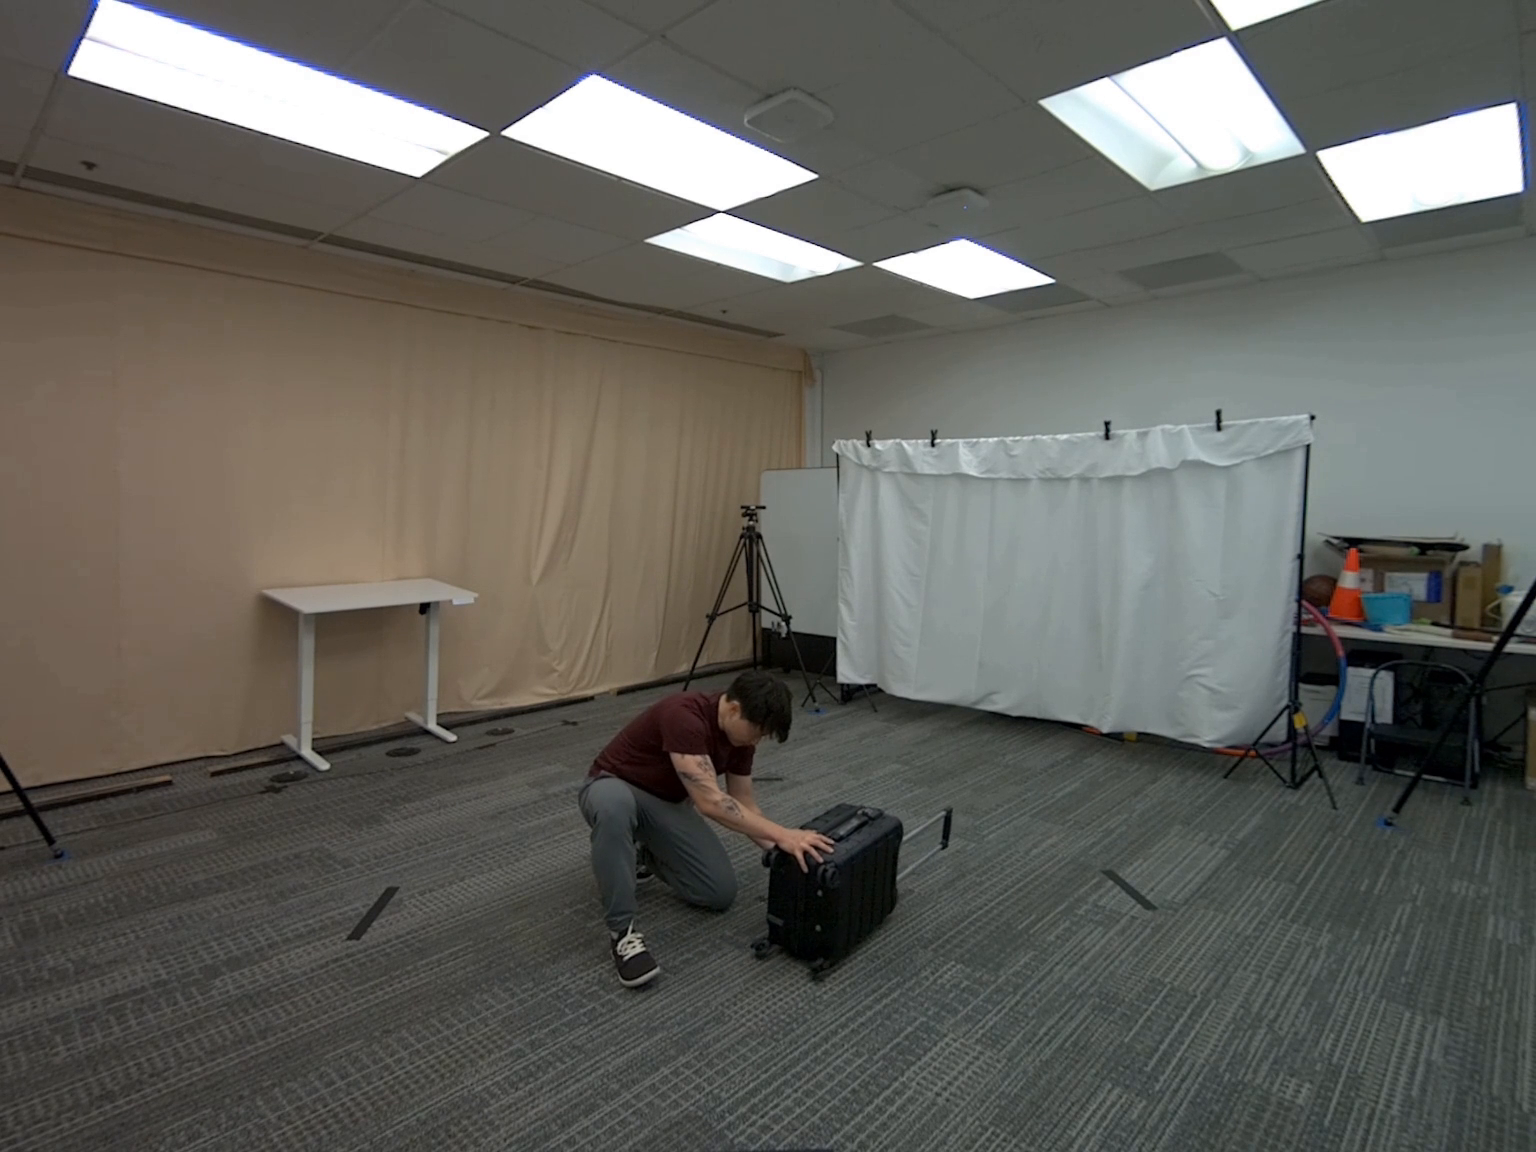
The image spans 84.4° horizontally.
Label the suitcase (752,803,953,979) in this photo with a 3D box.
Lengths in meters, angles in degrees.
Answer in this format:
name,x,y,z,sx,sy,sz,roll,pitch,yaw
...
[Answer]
name,x,y,z,sx,sy,sz,roll,pitch,yaw
suitcase,0.344,0.967,2.879,0.265,0.383,0.950,7,7,34
